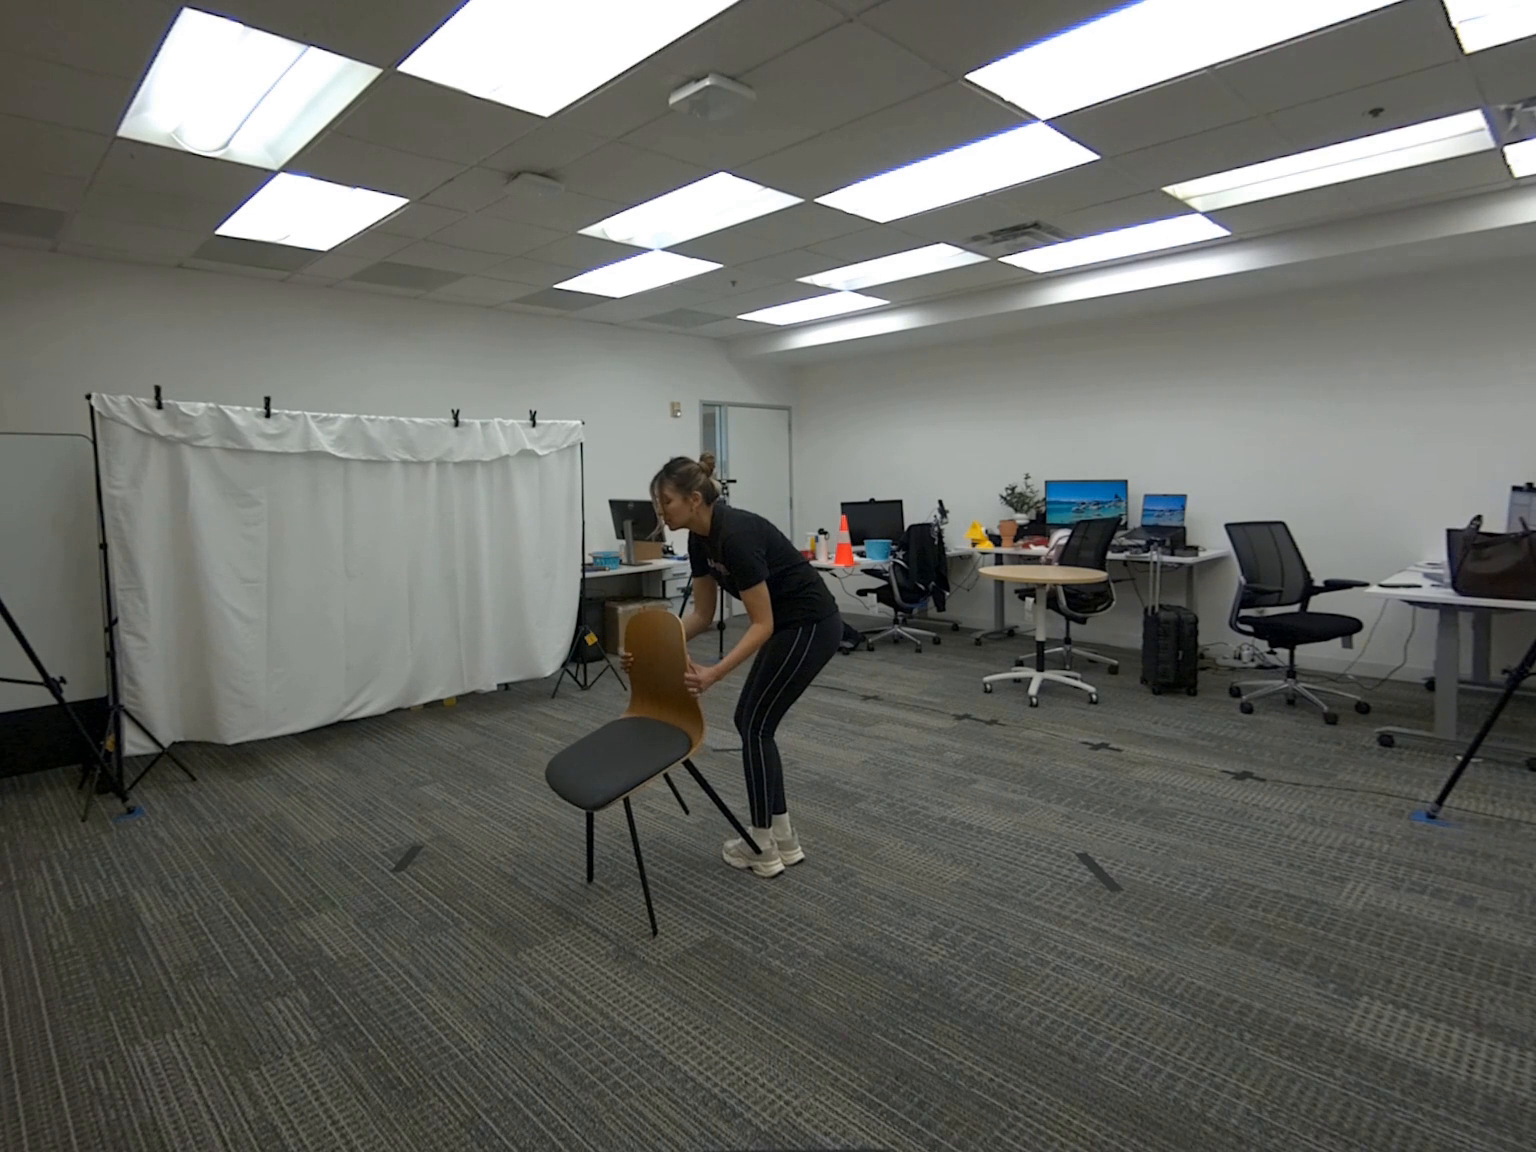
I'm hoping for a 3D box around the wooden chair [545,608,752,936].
[{"bbox_3d":[-0.440,0.612,2.813,0.515,0.865,0.492,-21,16,-34],"label":"wooden chair"}]
